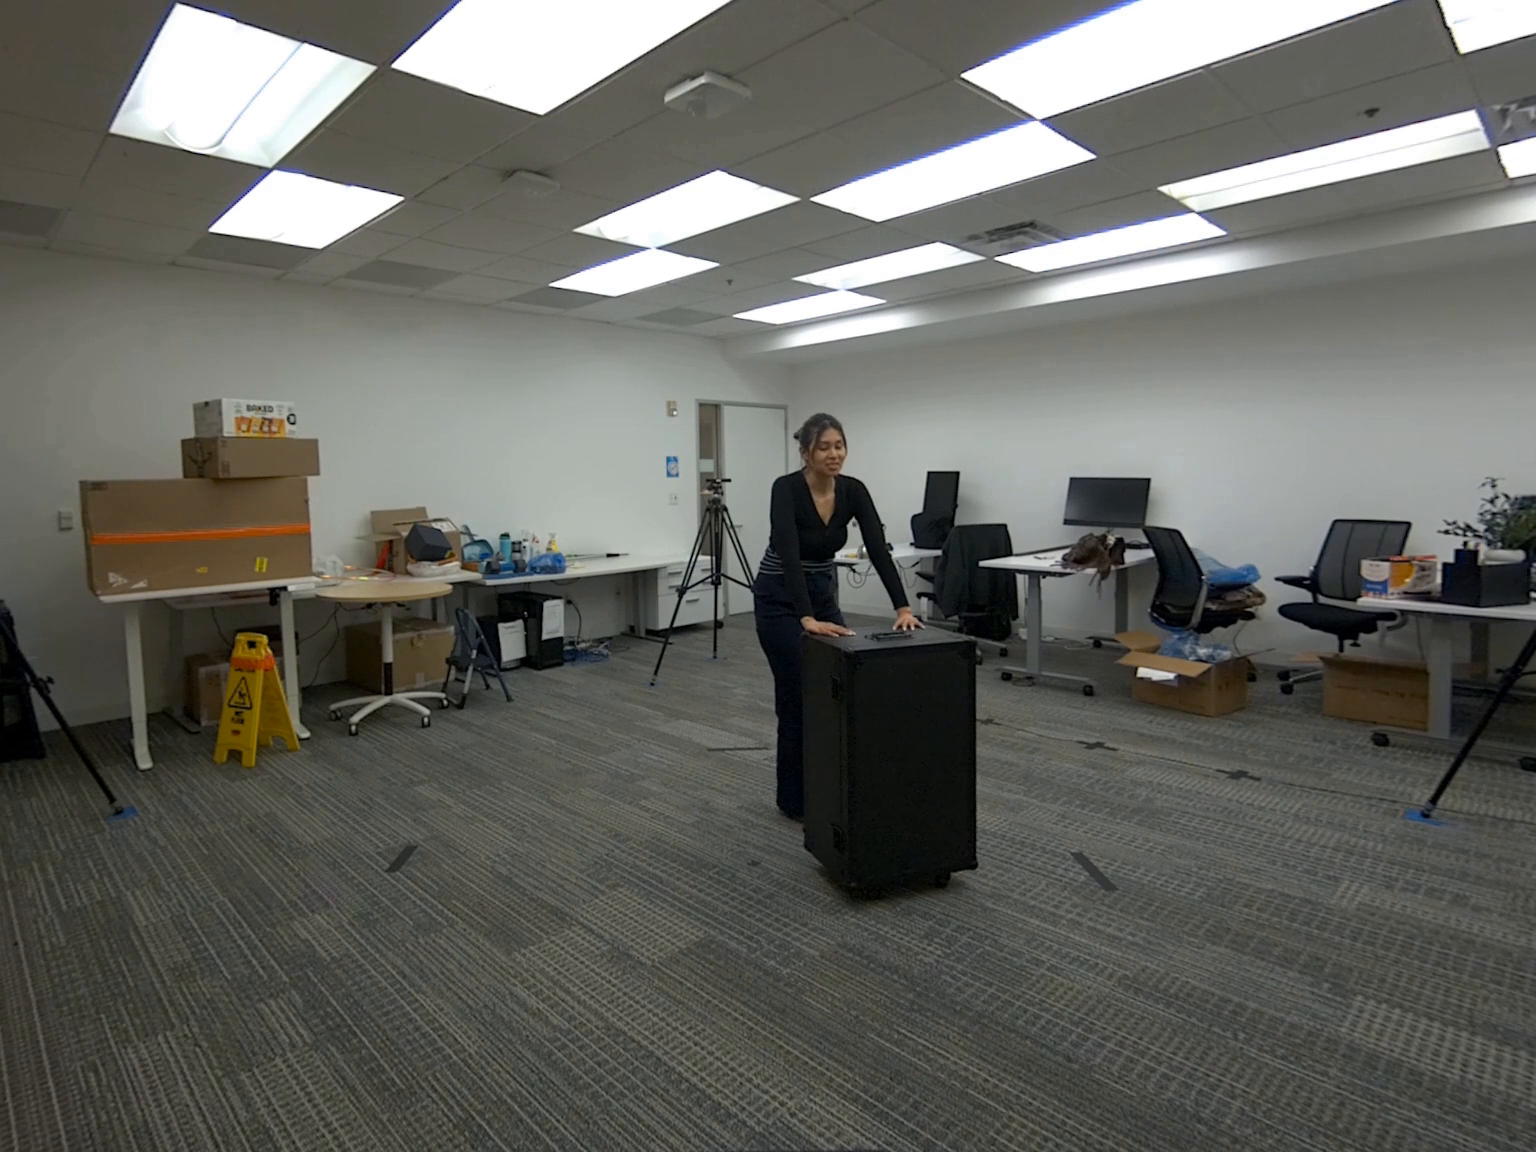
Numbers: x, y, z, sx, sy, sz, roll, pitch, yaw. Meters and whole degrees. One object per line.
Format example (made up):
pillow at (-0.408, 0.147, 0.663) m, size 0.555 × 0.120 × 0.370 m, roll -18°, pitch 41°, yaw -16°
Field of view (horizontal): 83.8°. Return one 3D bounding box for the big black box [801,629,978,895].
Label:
big black box at (0.405, 0.624, 2.957) m, size 0.512 × 0.859 × 0.404 m, roll -3°, pitch 4°, yaw -19°
